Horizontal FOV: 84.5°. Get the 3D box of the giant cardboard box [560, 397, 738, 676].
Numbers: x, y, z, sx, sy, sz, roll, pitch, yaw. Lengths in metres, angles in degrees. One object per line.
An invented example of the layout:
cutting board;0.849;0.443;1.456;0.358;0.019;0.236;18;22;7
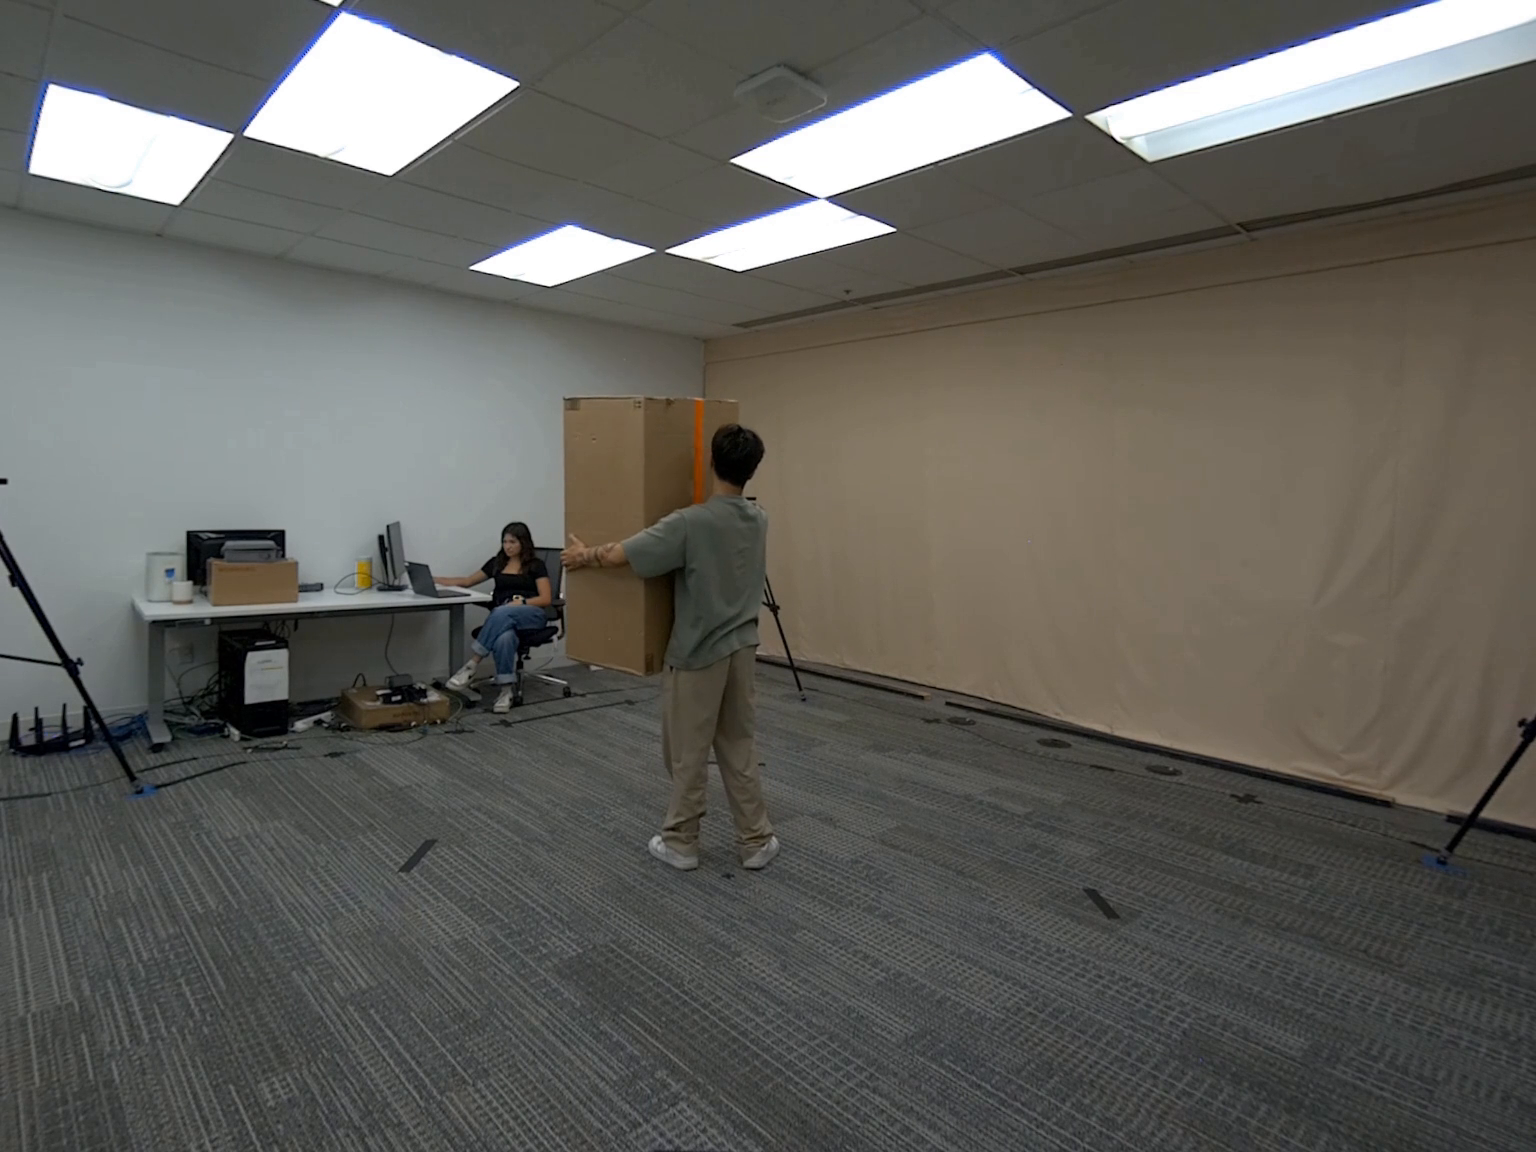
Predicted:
giant cardboard box;-0.457;-0.192;3.364;0.437;1.020;0.566;7;10;35
